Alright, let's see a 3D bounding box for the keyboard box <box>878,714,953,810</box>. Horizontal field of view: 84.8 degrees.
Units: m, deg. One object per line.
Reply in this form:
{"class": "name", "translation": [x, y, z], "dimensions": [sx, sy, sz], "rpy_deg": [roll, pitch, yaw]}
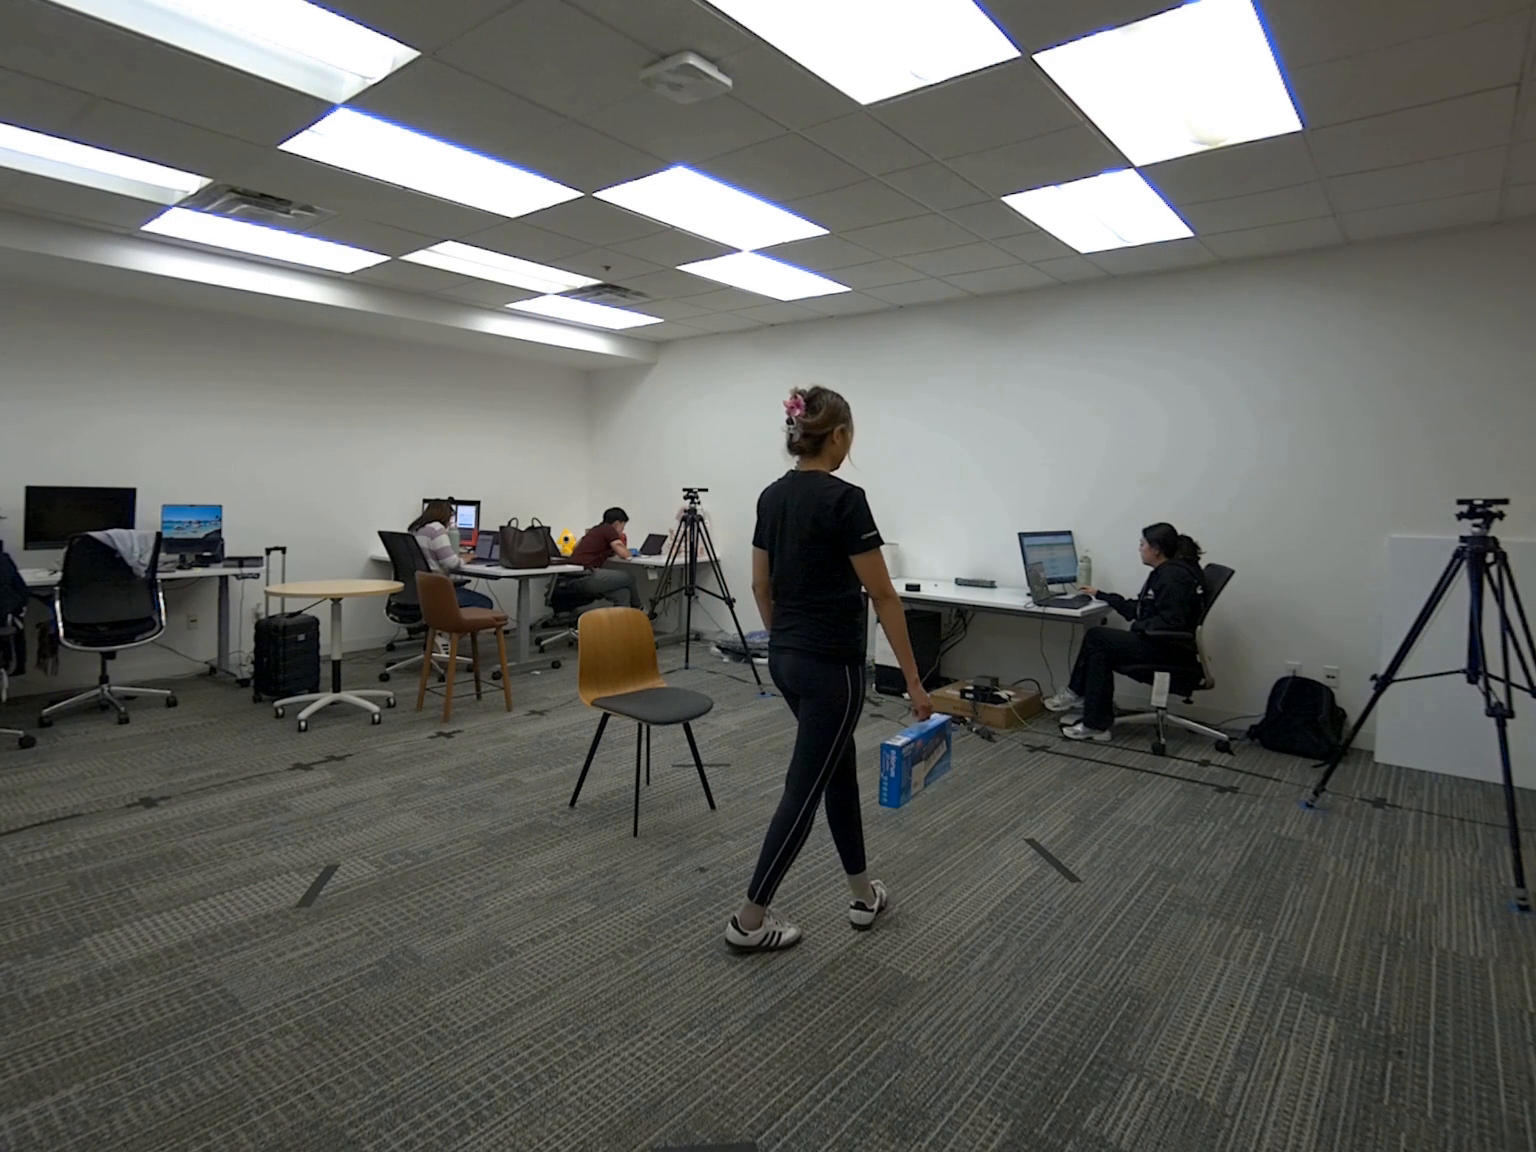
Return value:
{"class": "keyboard box", "translation": [0.434, 0.531, 2.488], "dimensions": [0.061, 0.175, 0.425], "rpy_deg": [2, 4, 30]}
